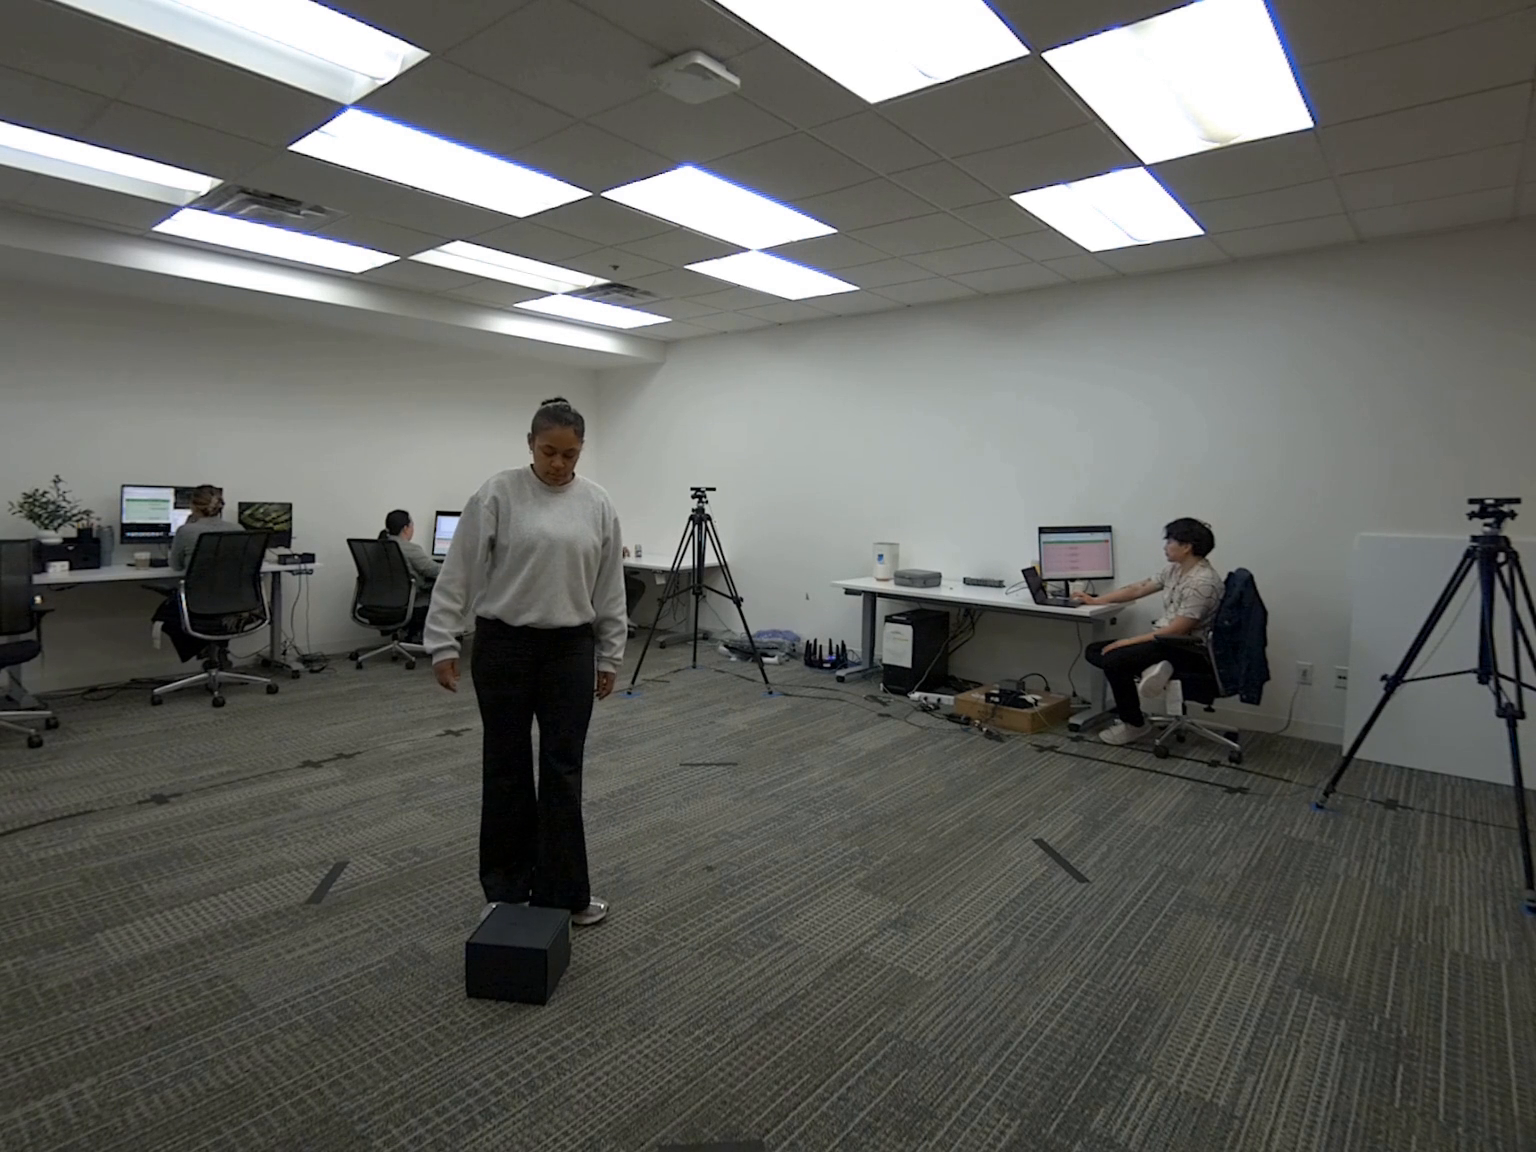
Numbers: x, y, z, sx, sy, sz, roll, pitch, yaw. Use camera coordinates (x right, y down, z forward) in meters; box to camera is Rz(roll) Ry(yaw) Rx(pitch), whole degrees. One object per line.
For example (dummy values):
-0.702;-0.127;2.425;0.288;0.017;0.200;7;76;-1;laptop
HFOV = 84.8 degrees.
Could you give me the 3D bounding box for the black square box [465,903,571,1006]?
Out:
-0.702;1.048;2.382;0.230;0.155;0.216;1;5;6;black square box
